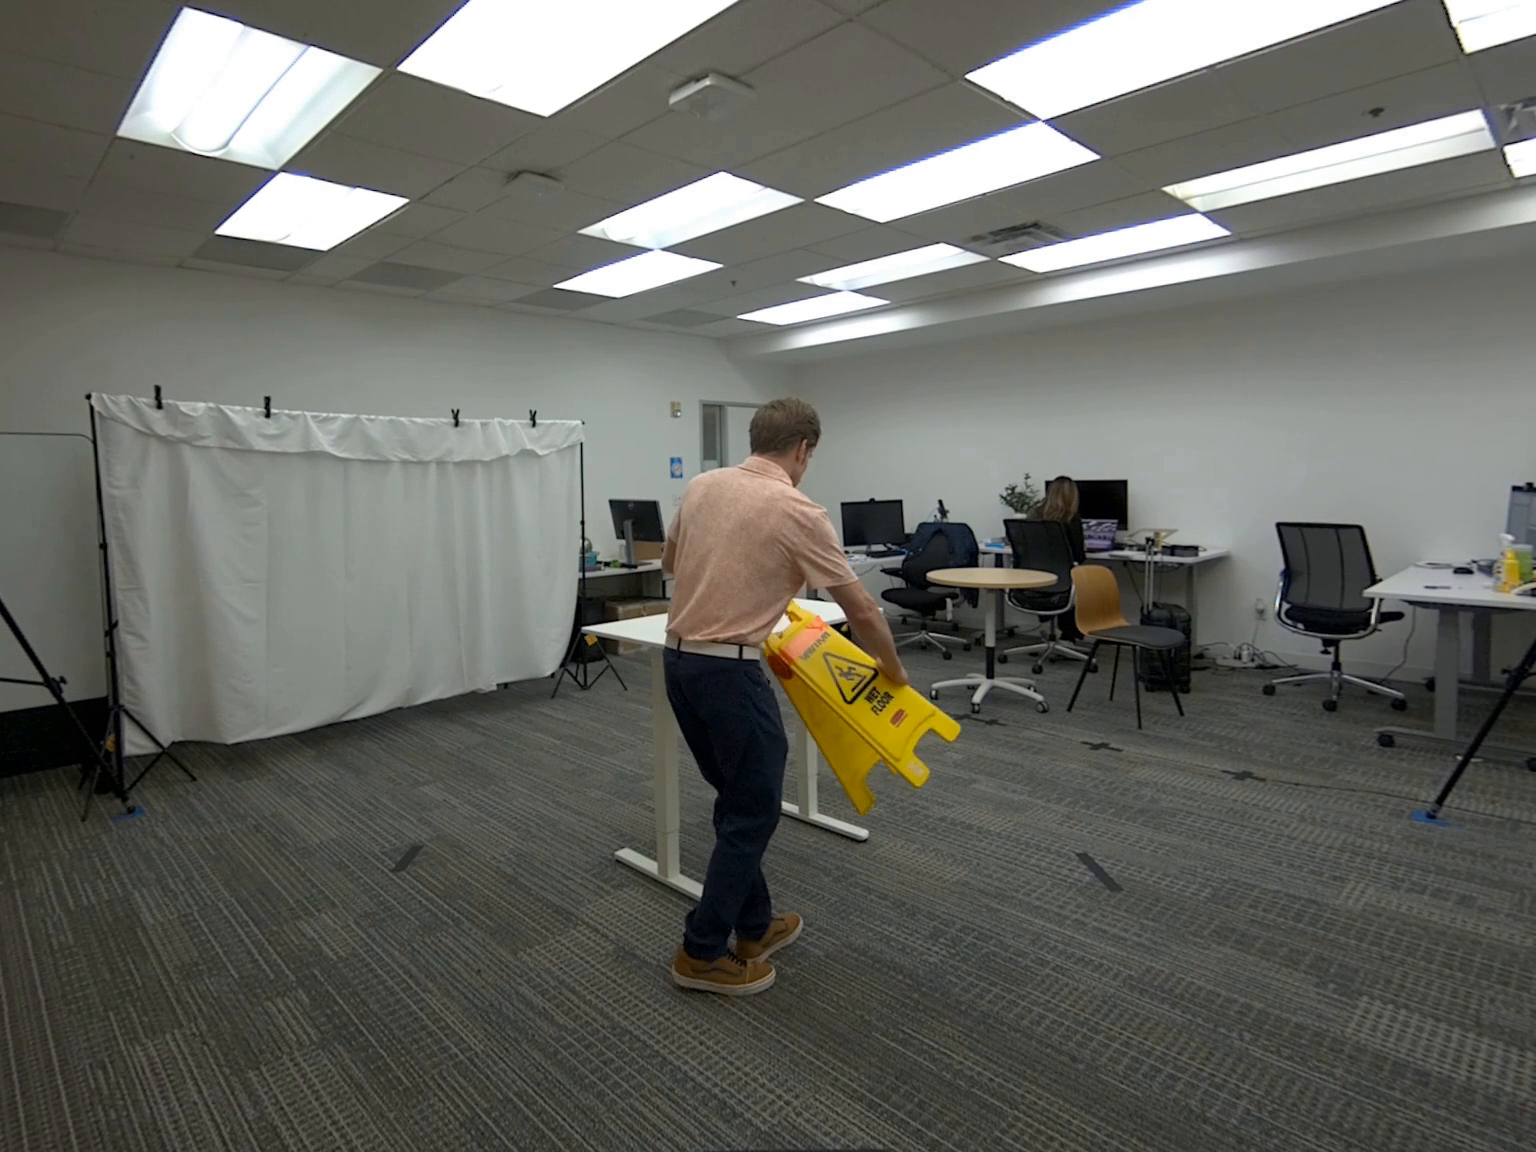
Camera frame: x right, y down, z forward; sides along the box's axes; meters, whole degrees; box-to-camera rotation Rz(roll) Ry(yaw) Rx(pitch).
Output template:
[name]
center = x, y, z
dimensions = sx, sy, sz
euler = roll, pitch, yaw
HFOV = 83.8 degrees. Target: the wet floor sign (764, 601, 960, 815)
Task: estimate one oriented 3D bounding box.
[wet floor sign]
center = 0.211, 0.342, 2.563
dimensions = 0.280, 0.650, 0.290
euler = -38, -5, -42
